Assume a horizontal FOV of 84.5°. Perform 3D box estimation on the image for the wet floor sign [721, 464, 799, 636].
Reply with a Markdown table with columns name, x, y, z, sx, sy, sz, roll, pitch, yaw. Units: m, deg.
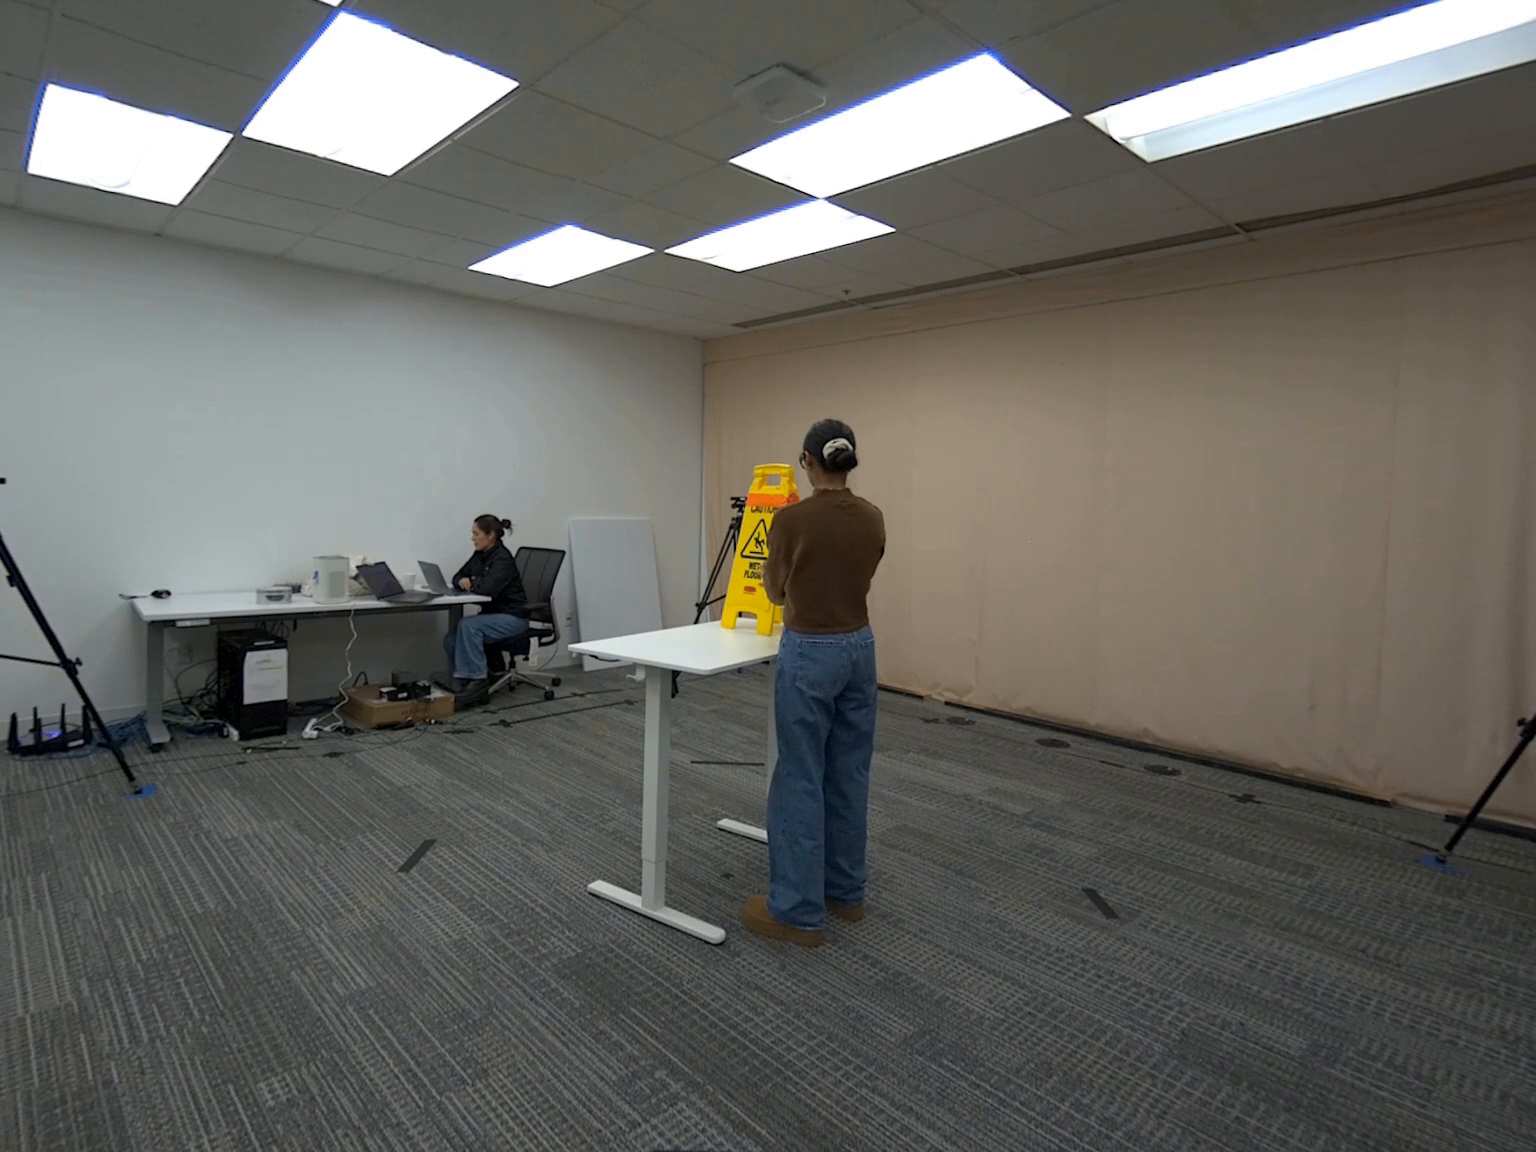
| name | x | y | z | sx | sy | sz | roll | pitch | yaw |
| --- | --- | --- | --- | --- | --- | --- | --- | --- | --- |
| wet floor sign | 0.005 | -0.112 | 3.321 | 0.283 | 0.644 | 0.289 | -2 | 4 | -43 |
